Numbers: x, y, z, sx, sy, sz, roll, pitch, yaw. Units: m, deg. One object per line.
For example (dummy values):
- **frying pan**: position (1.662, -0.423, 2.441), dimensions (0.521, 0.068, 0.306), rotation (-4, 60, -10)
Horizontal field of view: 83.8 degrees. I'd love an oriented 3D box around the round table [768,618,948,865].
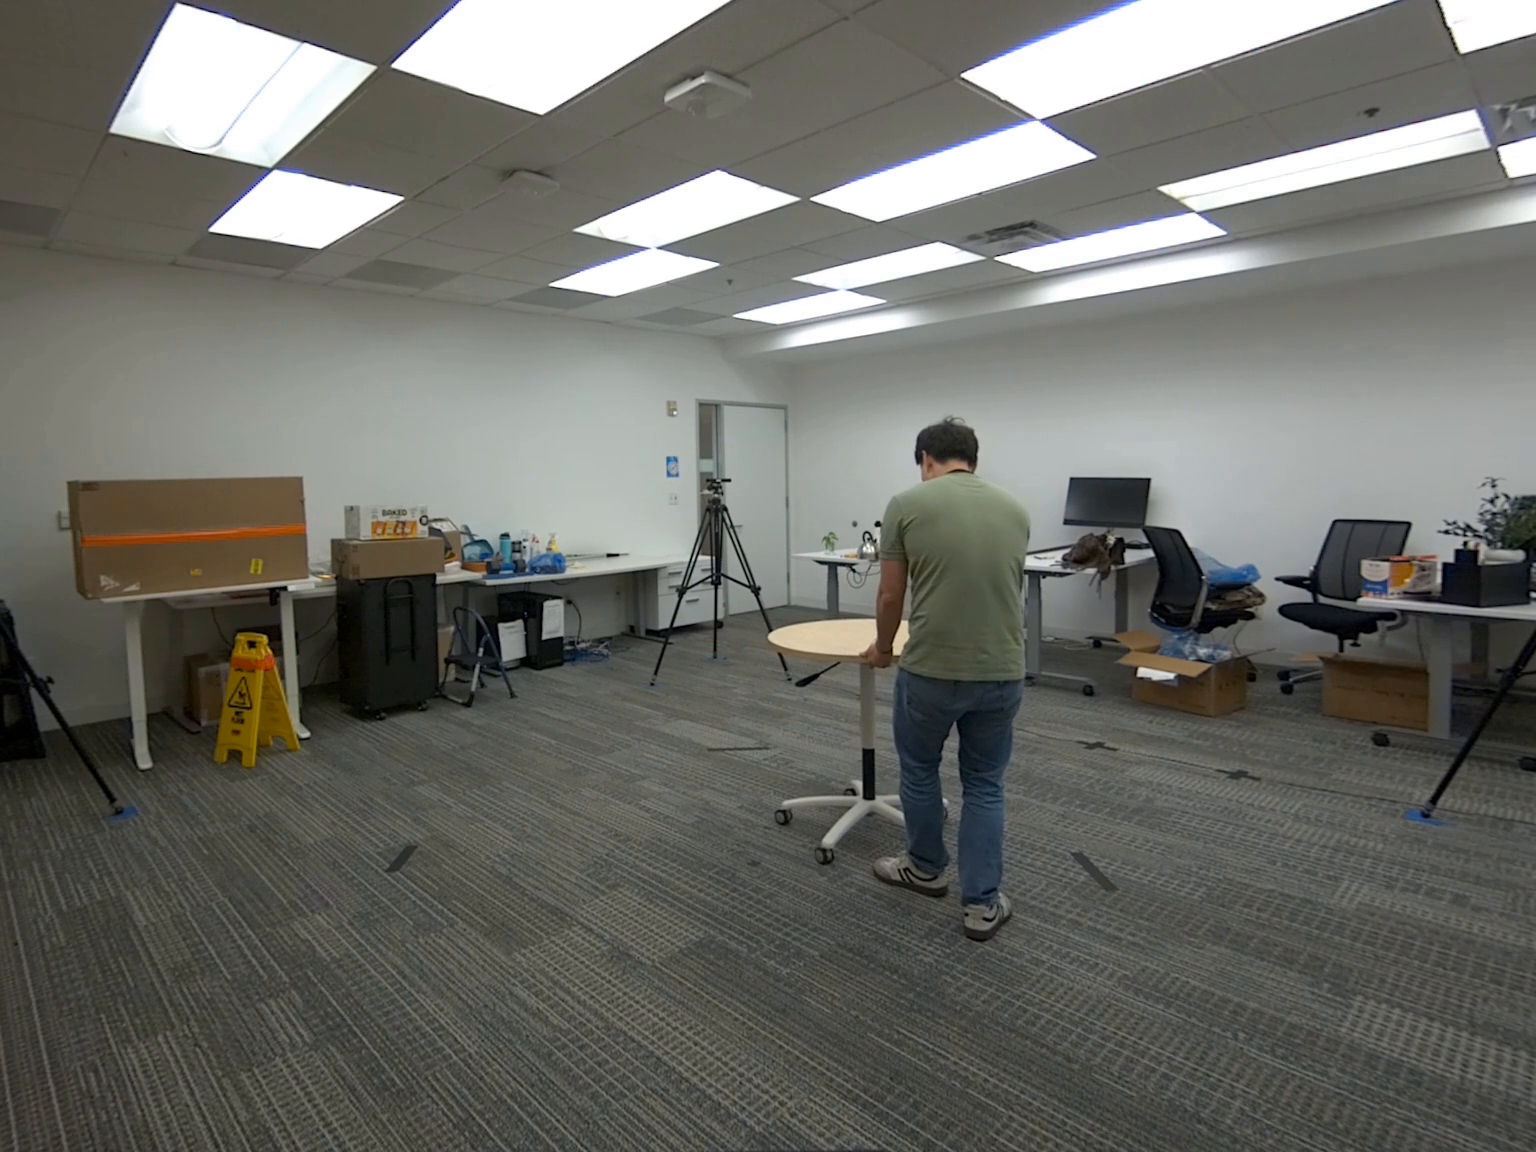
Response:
- **round table**: position (0.388, 0.621, 3.335), dimensions (0.763, 0.791, 0.768), rotation (-1, 5, -2)
